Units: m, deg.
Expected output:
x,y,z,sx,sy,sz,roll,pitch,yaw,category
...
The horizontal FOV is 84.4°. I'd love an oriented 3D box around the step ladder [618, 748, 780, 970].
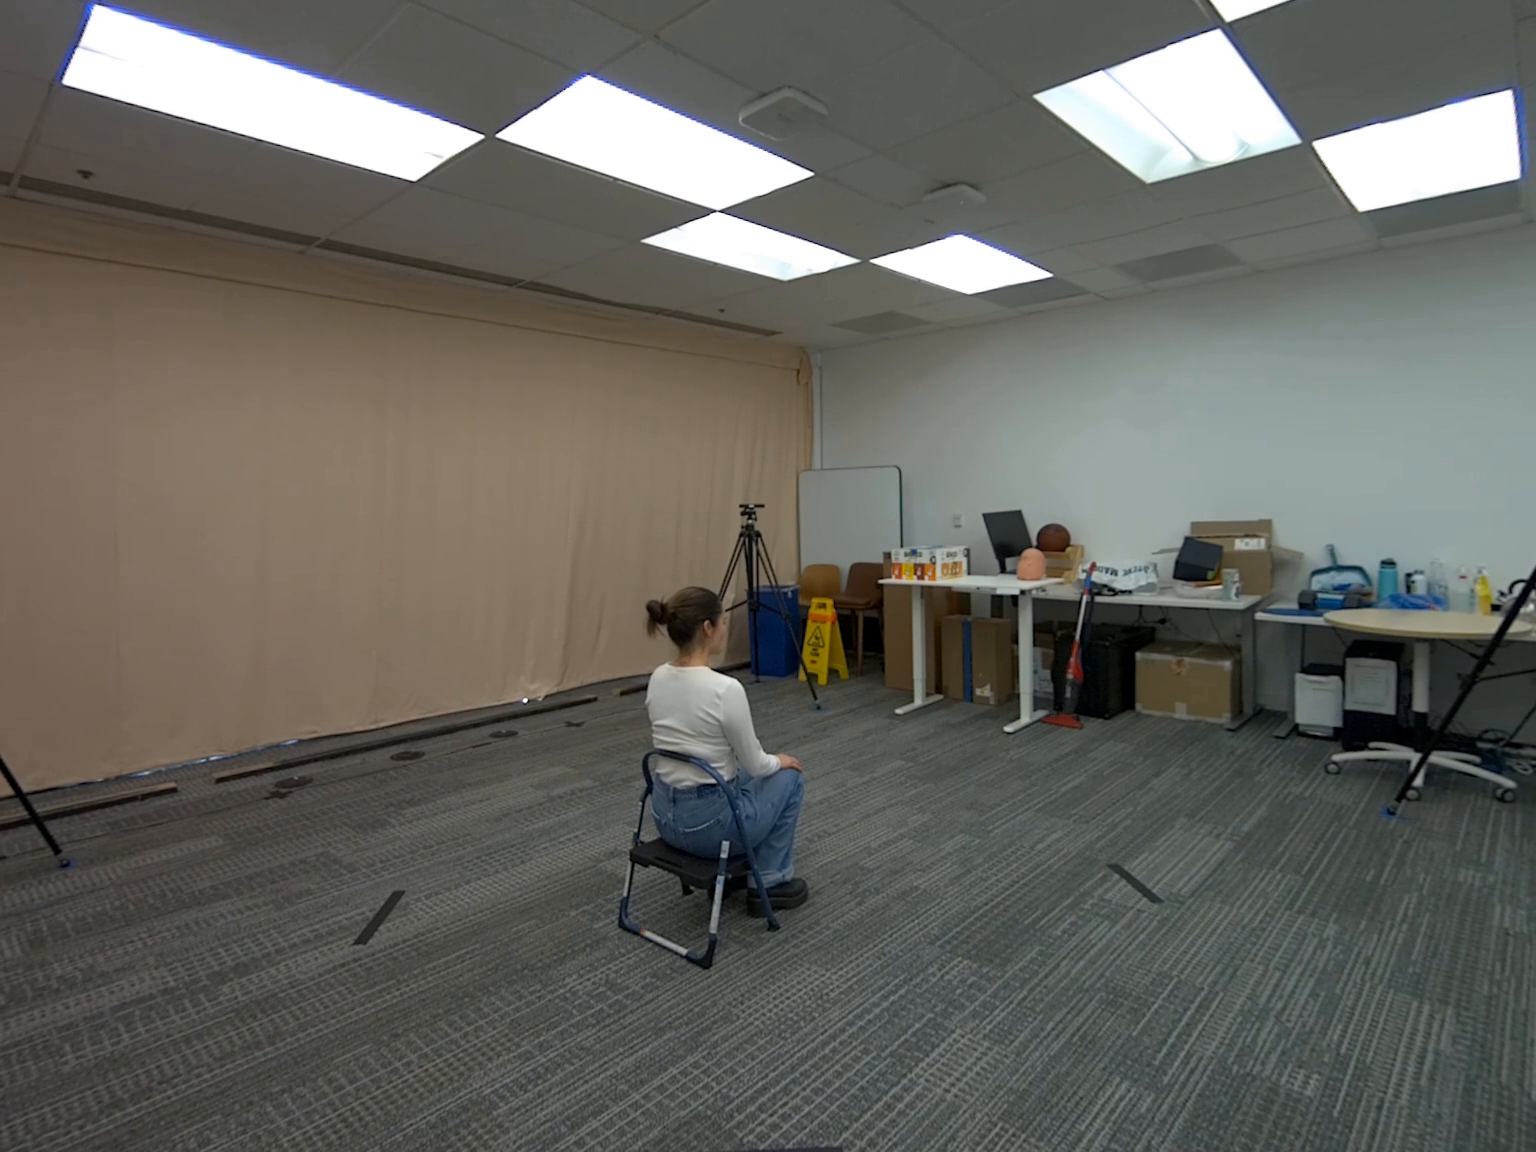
x,y,z,sx,sy,sz,roll,pitch,yaw,category
-0.240,0.858,2.766,0.445,0.605,0.339,1,4,41,step ladder
